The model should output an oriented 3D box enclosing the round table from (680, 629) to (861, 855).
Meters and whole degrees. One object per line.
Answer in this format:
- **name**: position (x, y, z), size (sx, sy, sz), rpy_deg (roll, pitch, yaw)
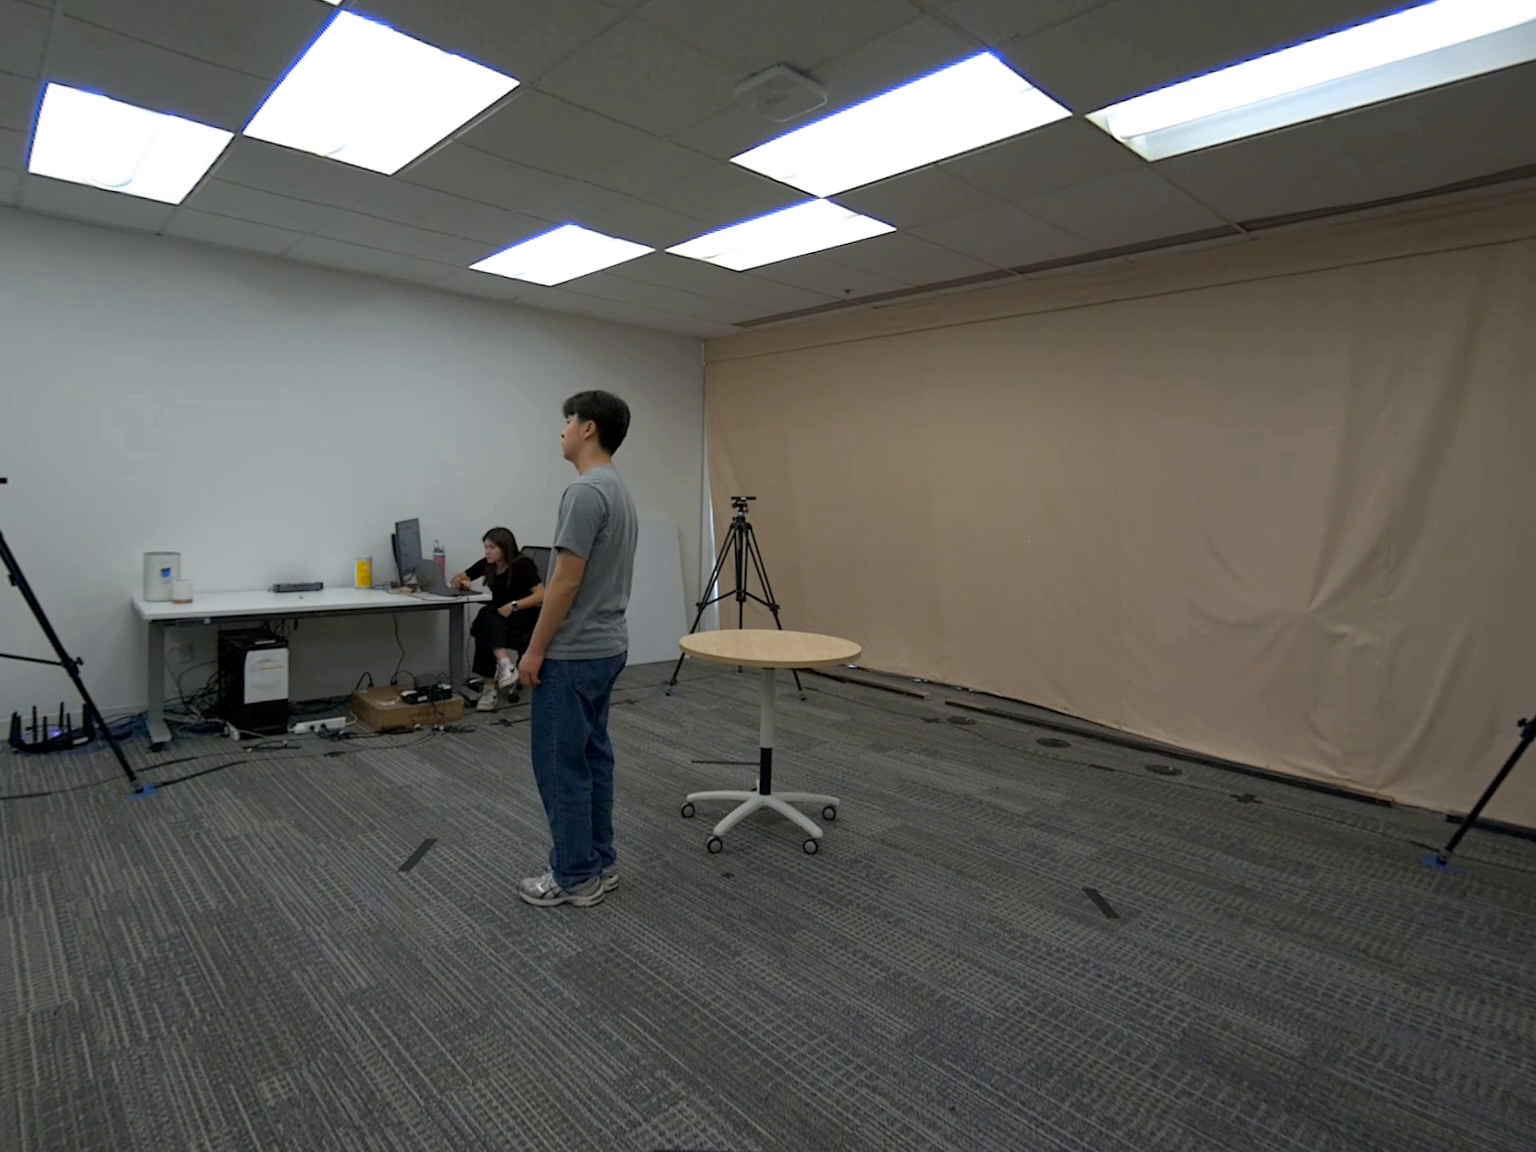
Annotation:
- **round table**: position (-0.012, 0.679, 3.567), size (0.763, 0.792, 0.766), rpy_deg (2, 3, -1)
